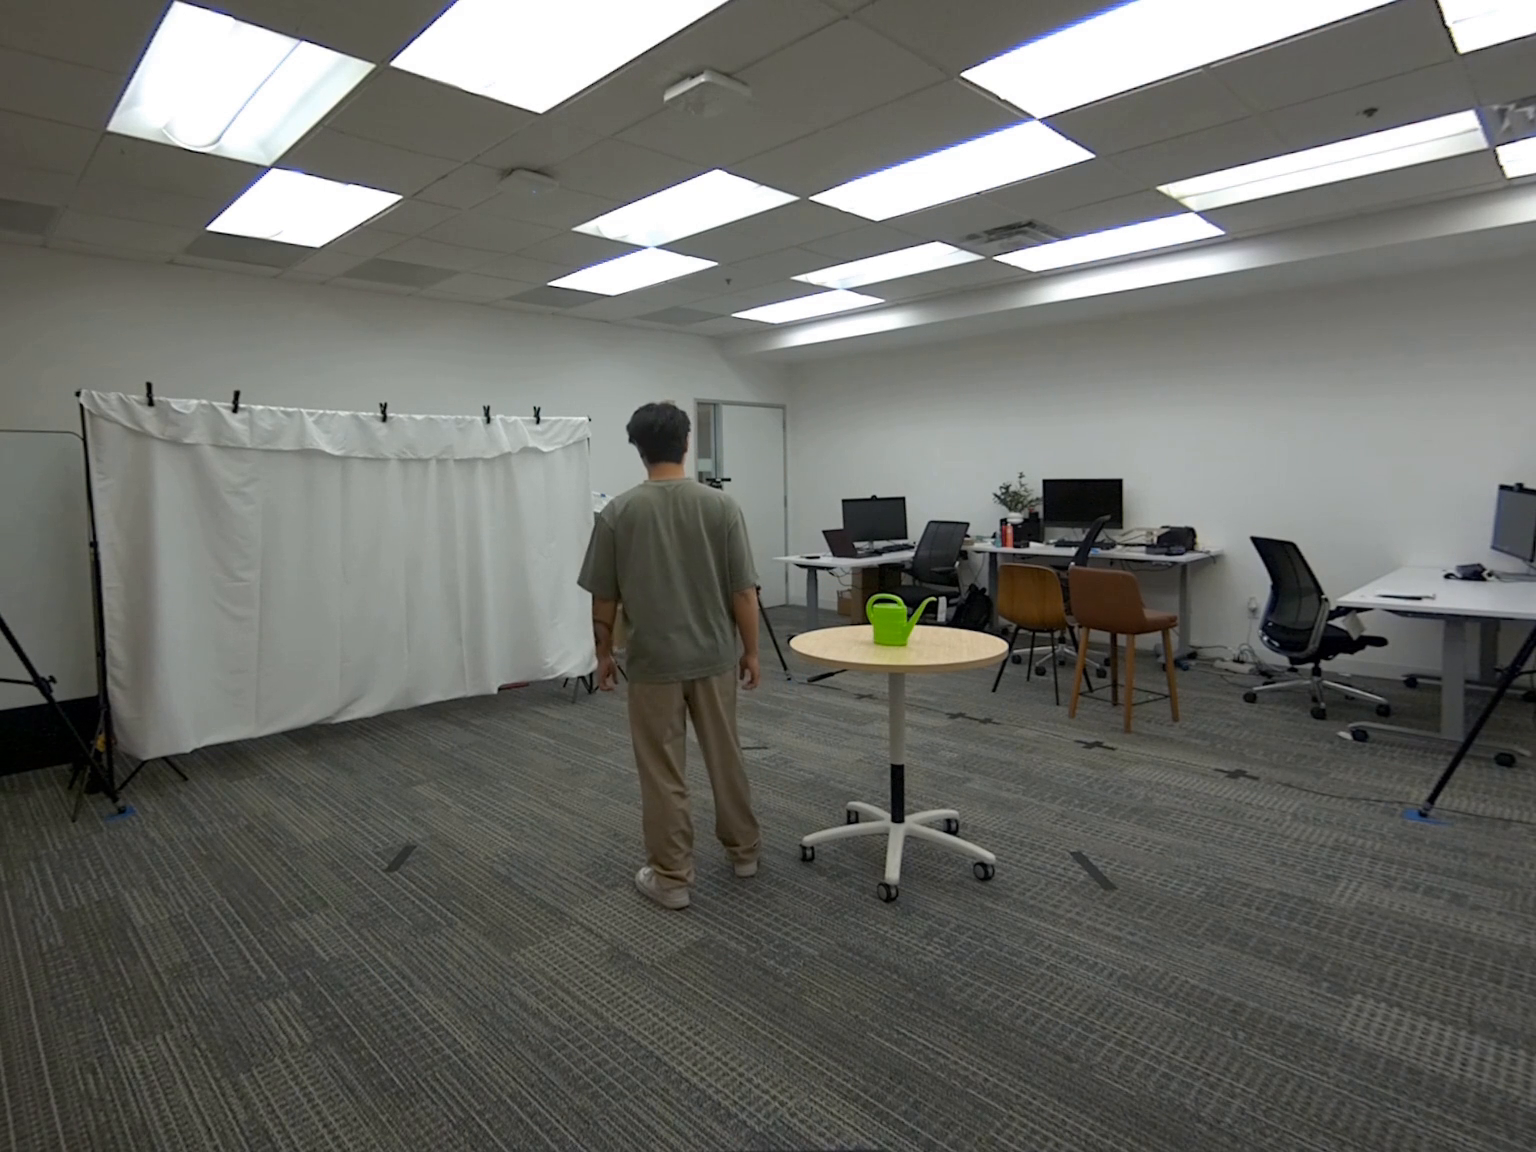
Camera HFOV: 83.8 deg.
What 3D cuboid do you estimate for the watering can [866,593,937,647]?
[{"bbox_3d":[0.461,0.157,3.020,0.096,0.176,0.286,-6,6,-32],"label":"watering can"}]
